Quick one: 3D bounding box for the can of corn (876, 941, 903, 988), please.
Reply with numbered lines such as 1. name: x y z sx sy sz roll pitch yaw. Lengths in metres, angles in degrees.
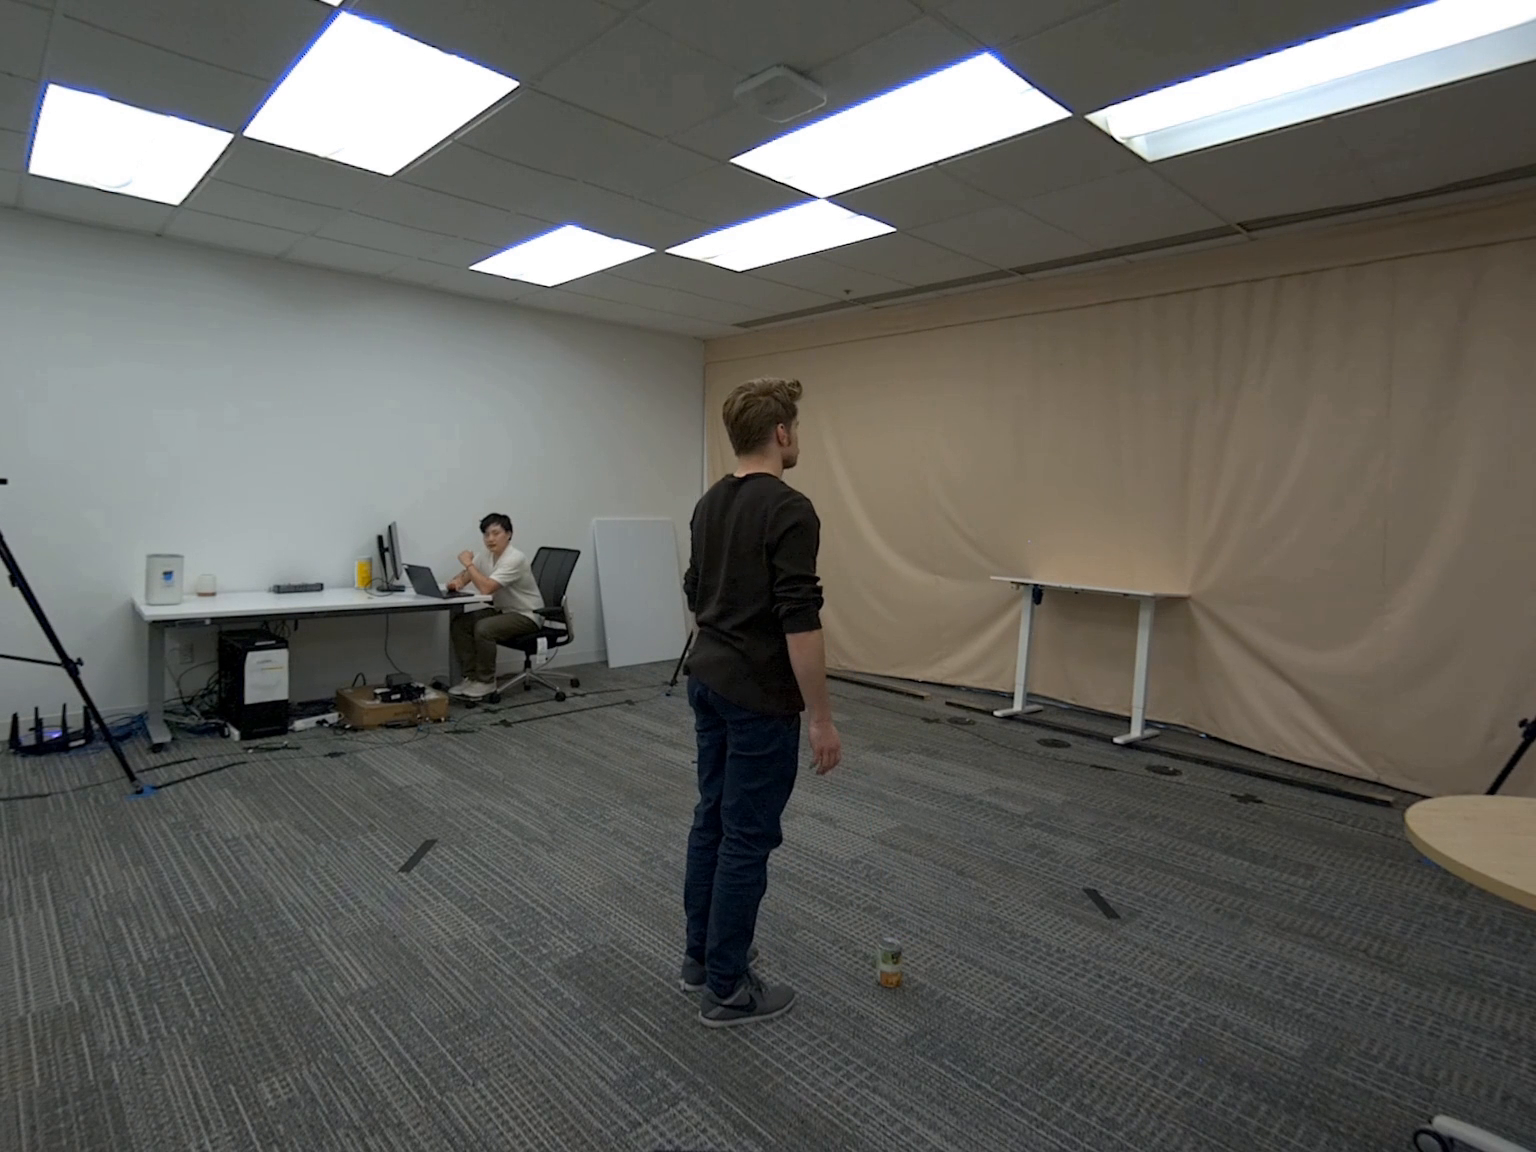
1. can of corn: 0.346 1.128 2.447 0.074 0.111 0.074 3 4 -2
